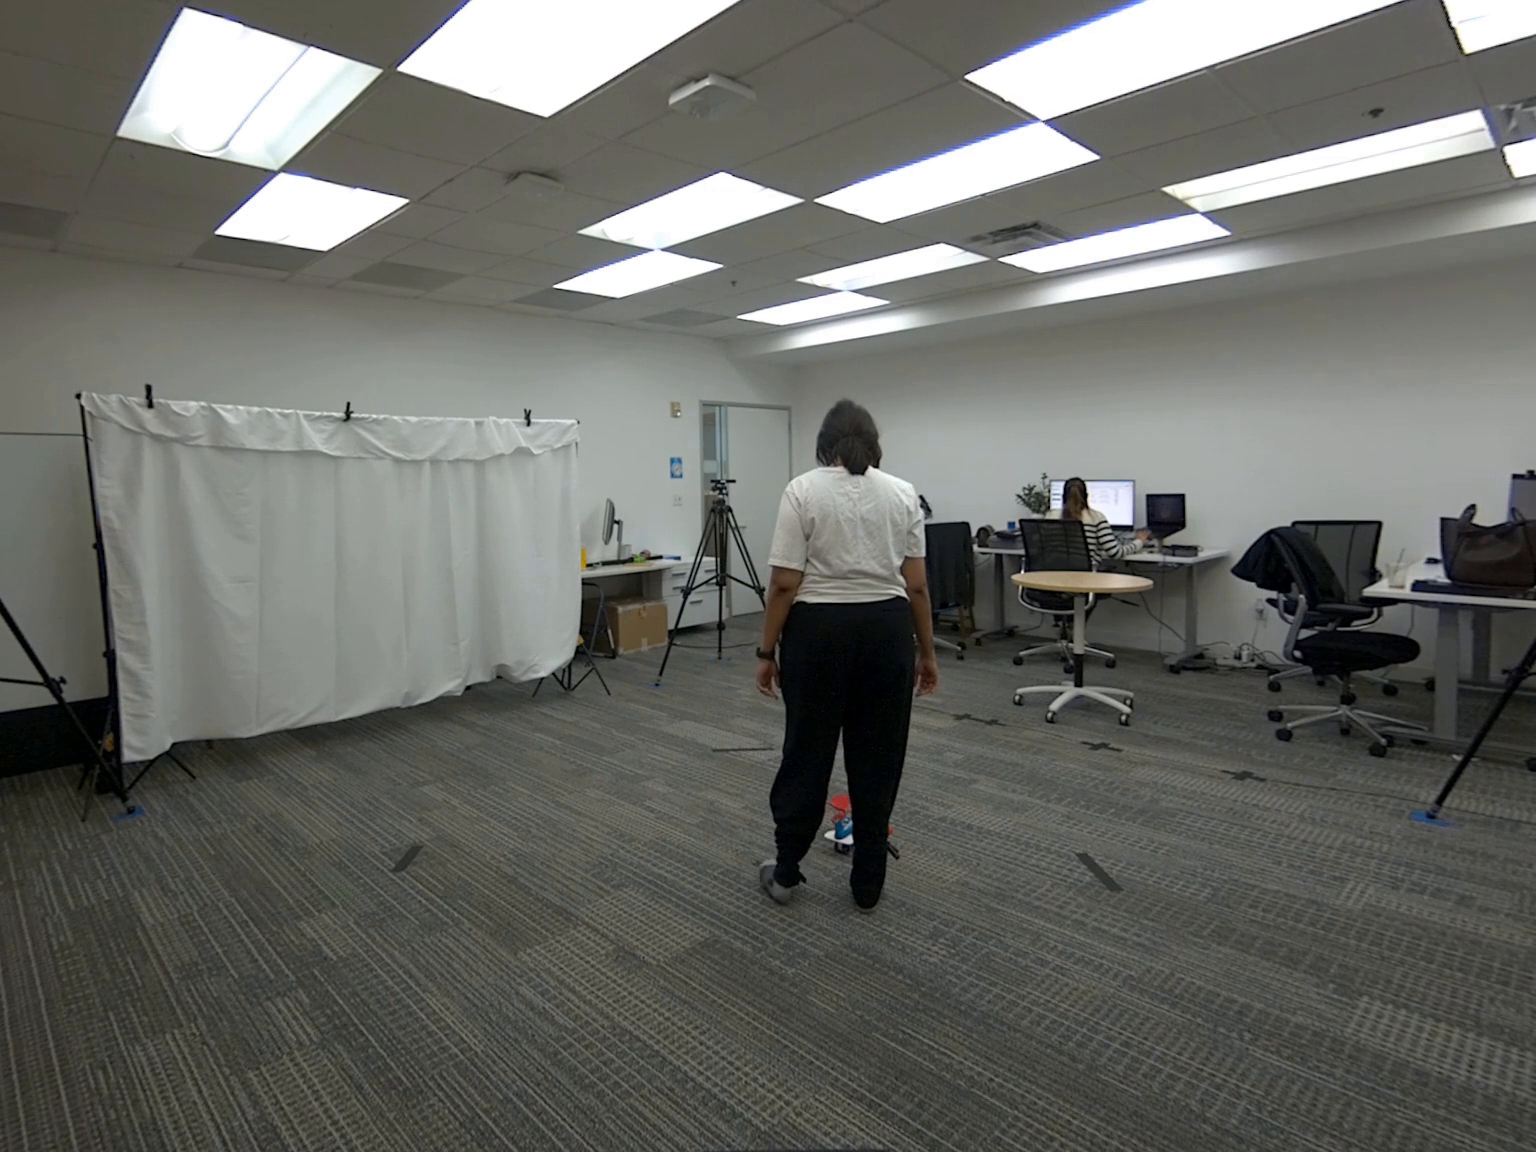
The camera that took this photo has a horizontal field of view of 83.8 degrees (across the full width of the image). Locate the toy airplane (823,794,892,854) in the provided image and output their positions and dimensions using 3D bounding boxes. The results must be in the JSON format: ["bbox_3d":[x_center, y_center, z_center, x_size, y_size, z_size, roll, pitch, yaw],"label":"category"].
[{"bbox_3d":[0.352,0.948,3.250,0.254,0.156,0.257,1,5,12],"label":"toy airplane"}]
